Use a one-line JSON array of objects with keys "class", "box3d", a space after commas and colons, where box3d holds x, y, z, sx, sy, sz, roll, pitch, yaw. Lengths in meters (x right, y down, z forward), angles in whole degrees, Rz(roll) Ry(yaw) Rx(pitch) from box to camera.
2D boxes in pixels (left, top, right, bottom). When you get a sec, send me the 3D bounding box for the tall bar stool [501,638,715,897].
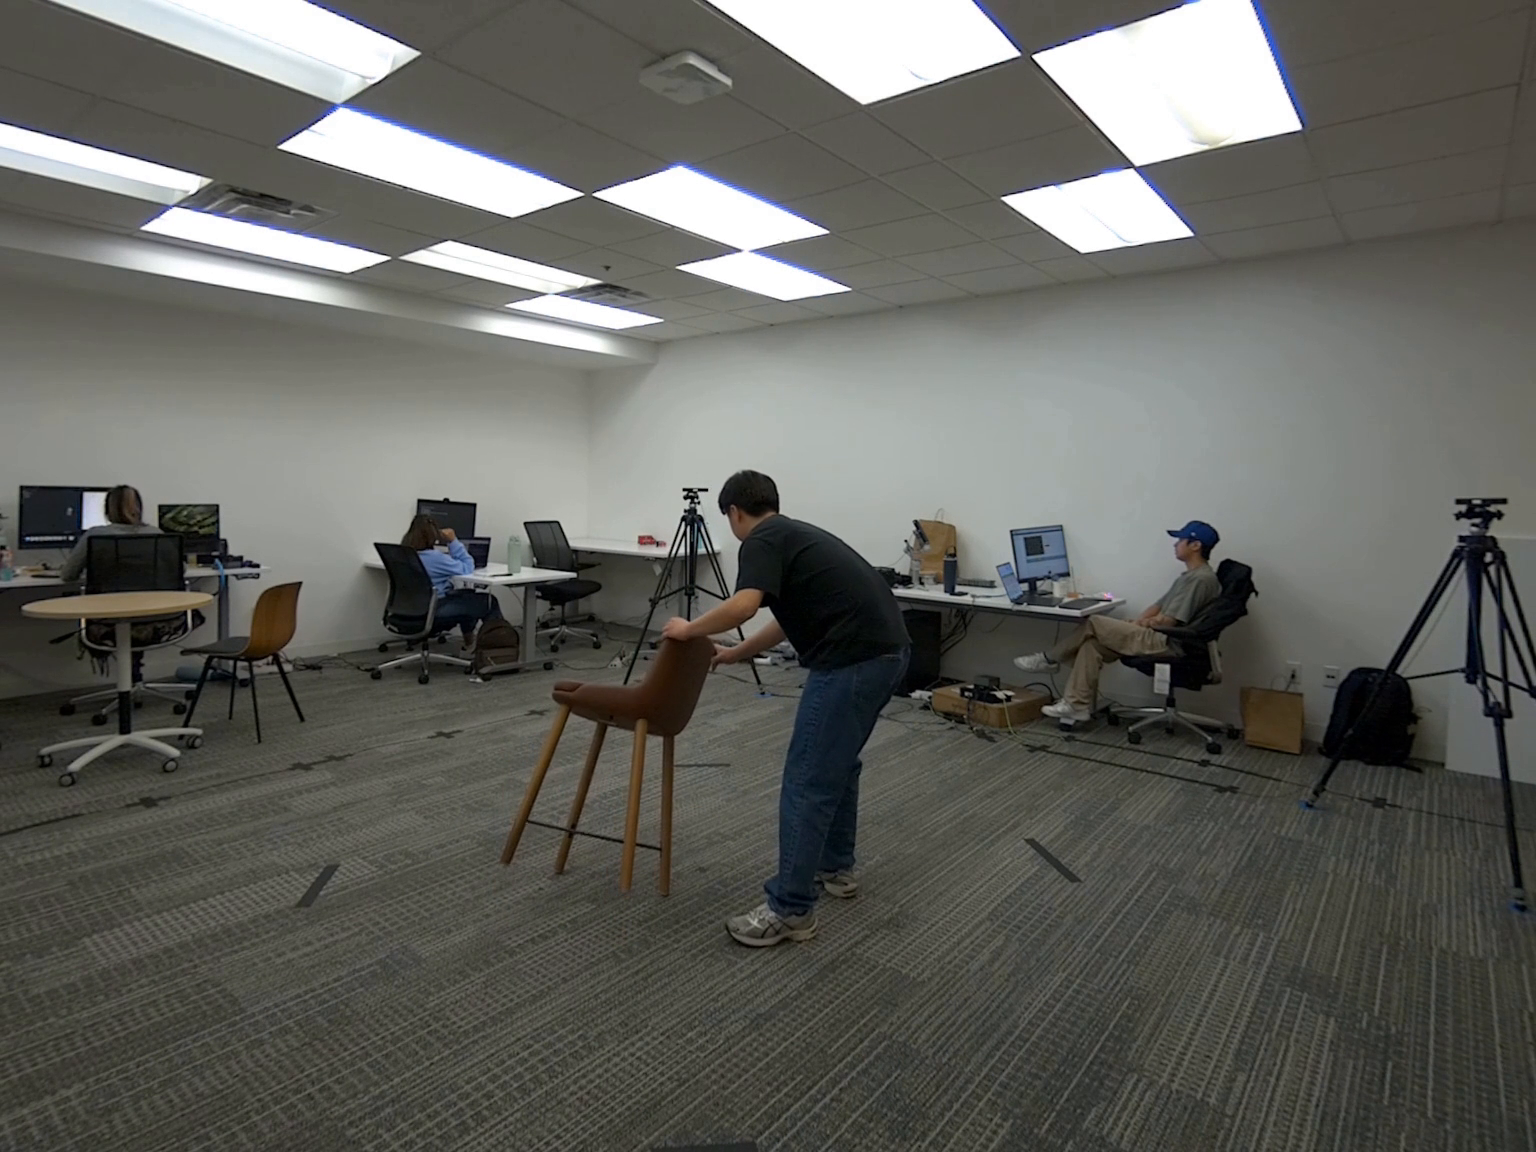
[{"class": "tall bar stool", "box3d": [-0.534, 0.604, 2.979, 0.478, 0.902, 0.440, 4, -21, 20]}]
